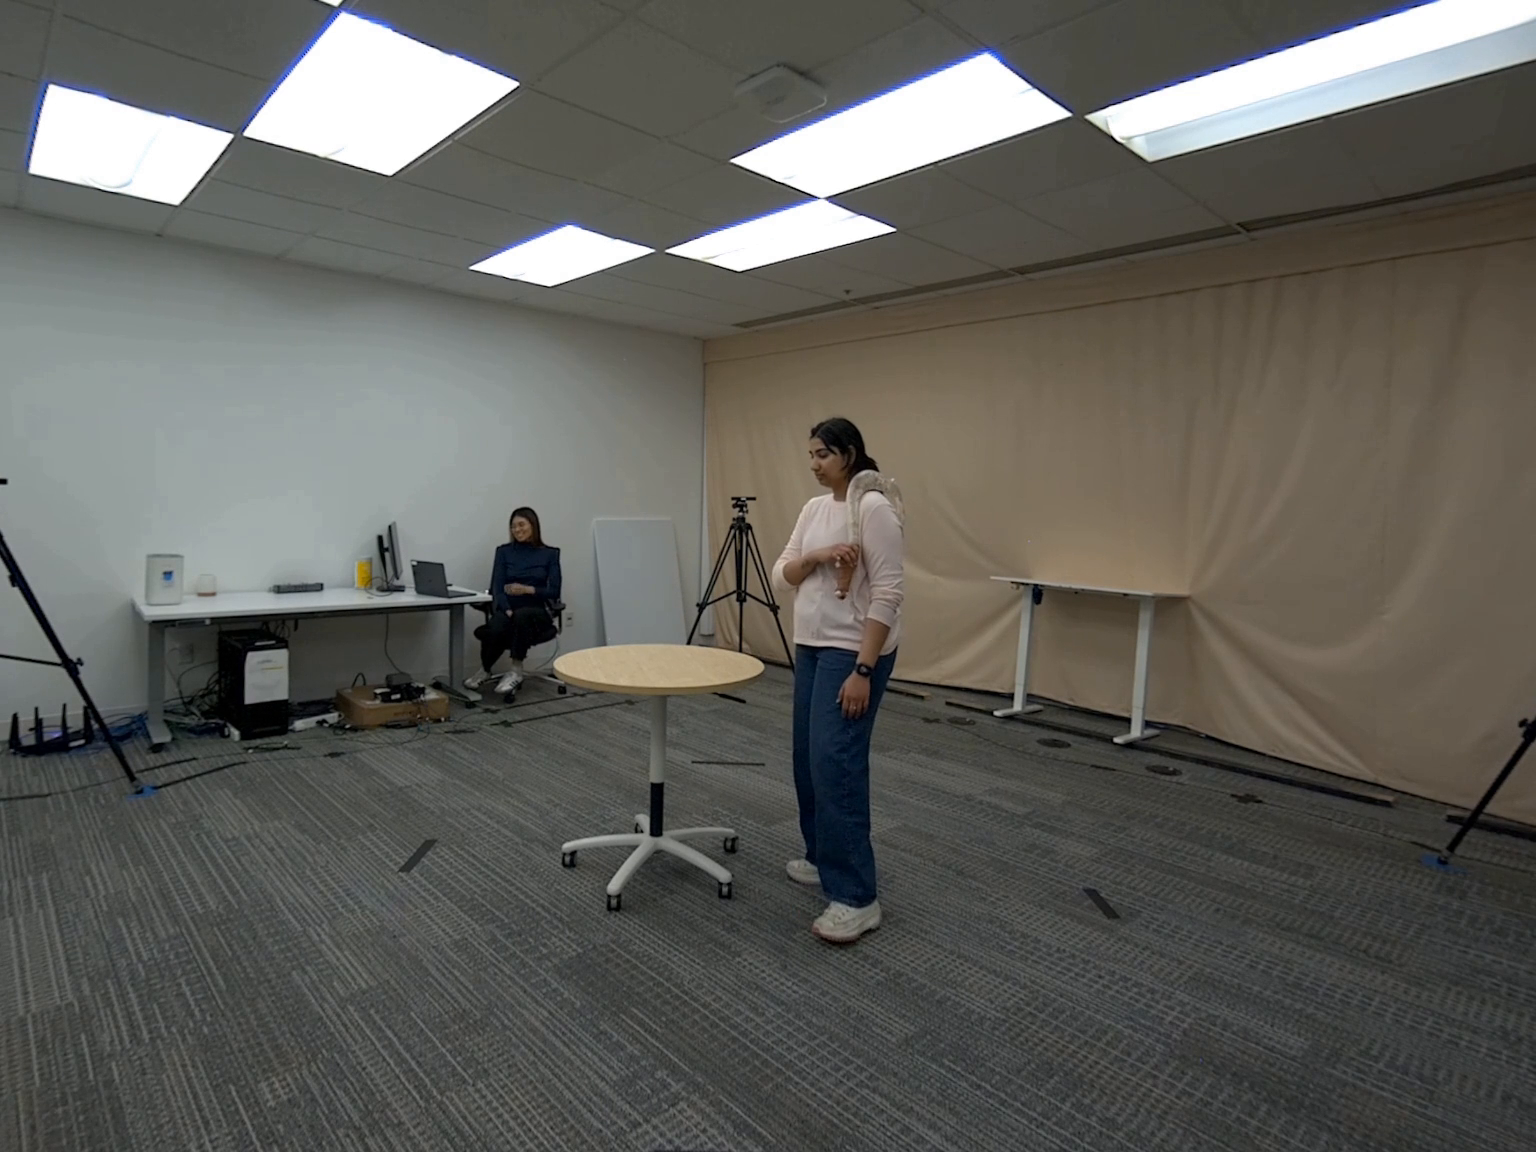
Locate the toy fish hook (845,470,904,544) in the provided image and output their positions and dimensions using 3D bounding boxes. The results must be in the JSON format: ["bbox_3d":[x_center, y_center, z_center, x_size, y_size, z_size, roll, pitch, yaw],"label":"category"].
[{"bbox_3d":[0.350,-0.124,2.809,0.224,0.512,0.048,16,-23,-2],"label":"toy fish hook"}]
